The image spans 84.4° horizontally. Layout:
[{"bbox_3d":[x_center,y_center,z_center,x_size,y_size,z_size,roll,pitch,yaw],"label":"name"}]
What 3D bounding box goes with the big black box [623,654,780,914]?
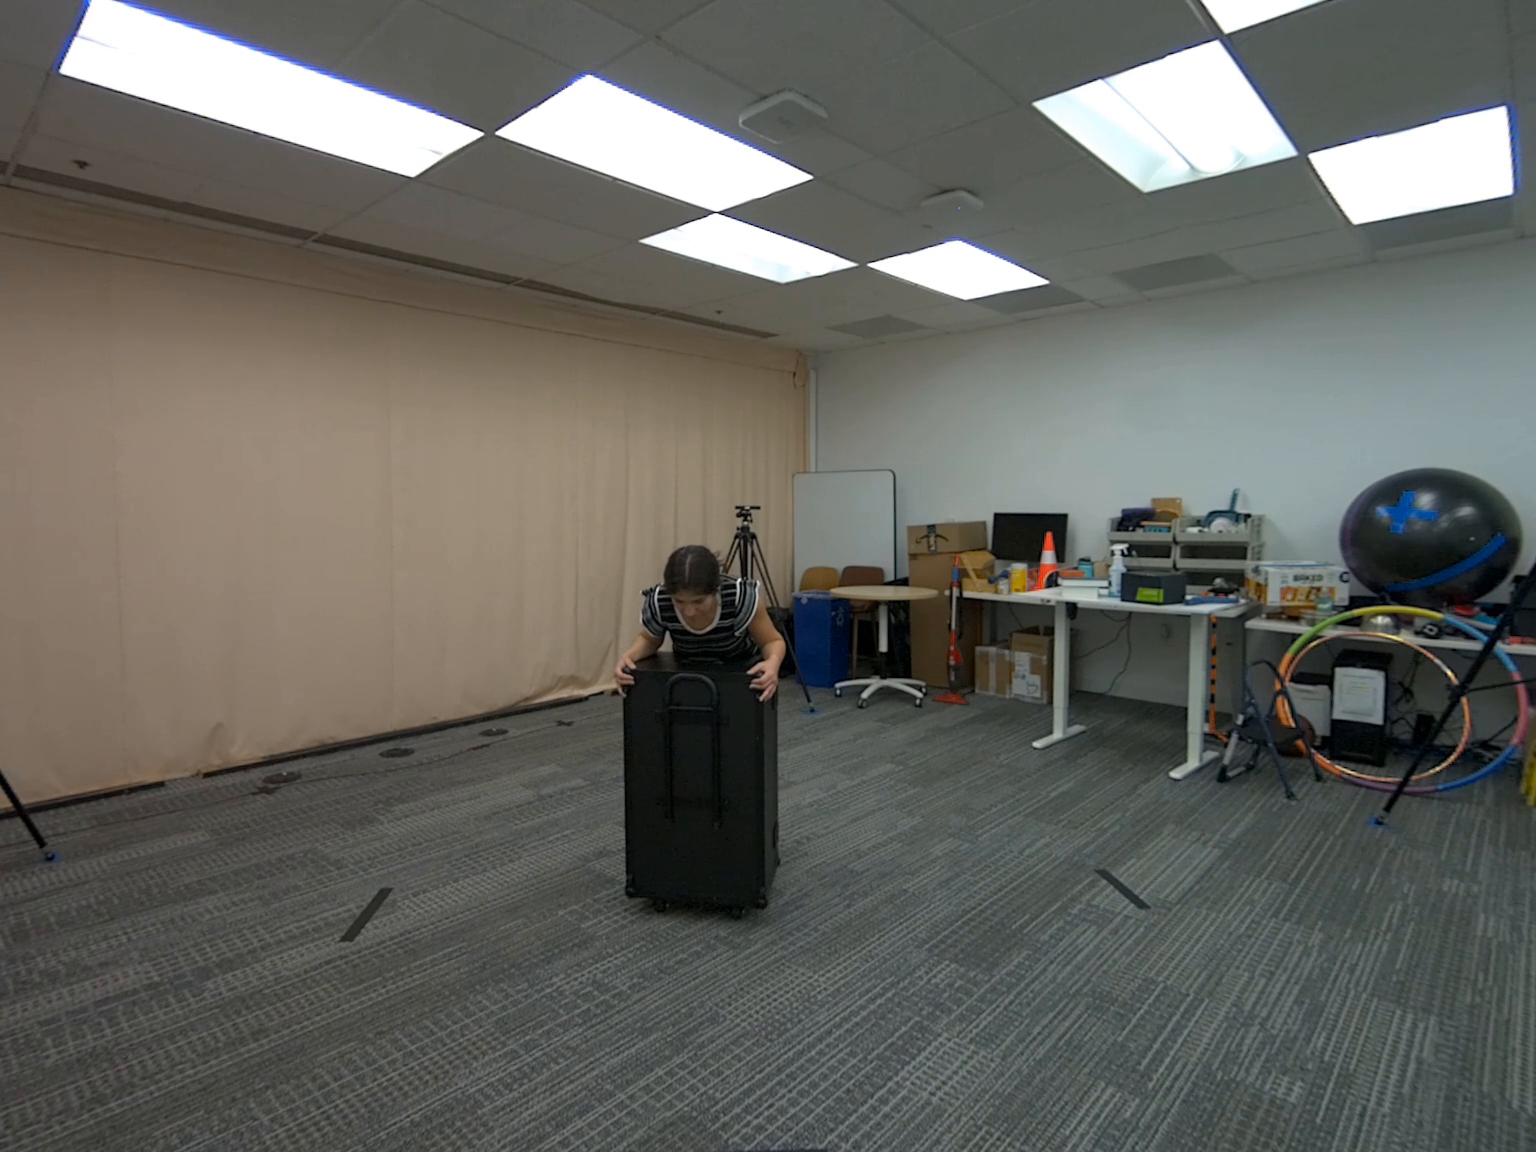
[{"bbox_3d":[-0.210,0.734,2.942,0.527,0.859,0.393,0,5,9],"label":"big black box"}]
